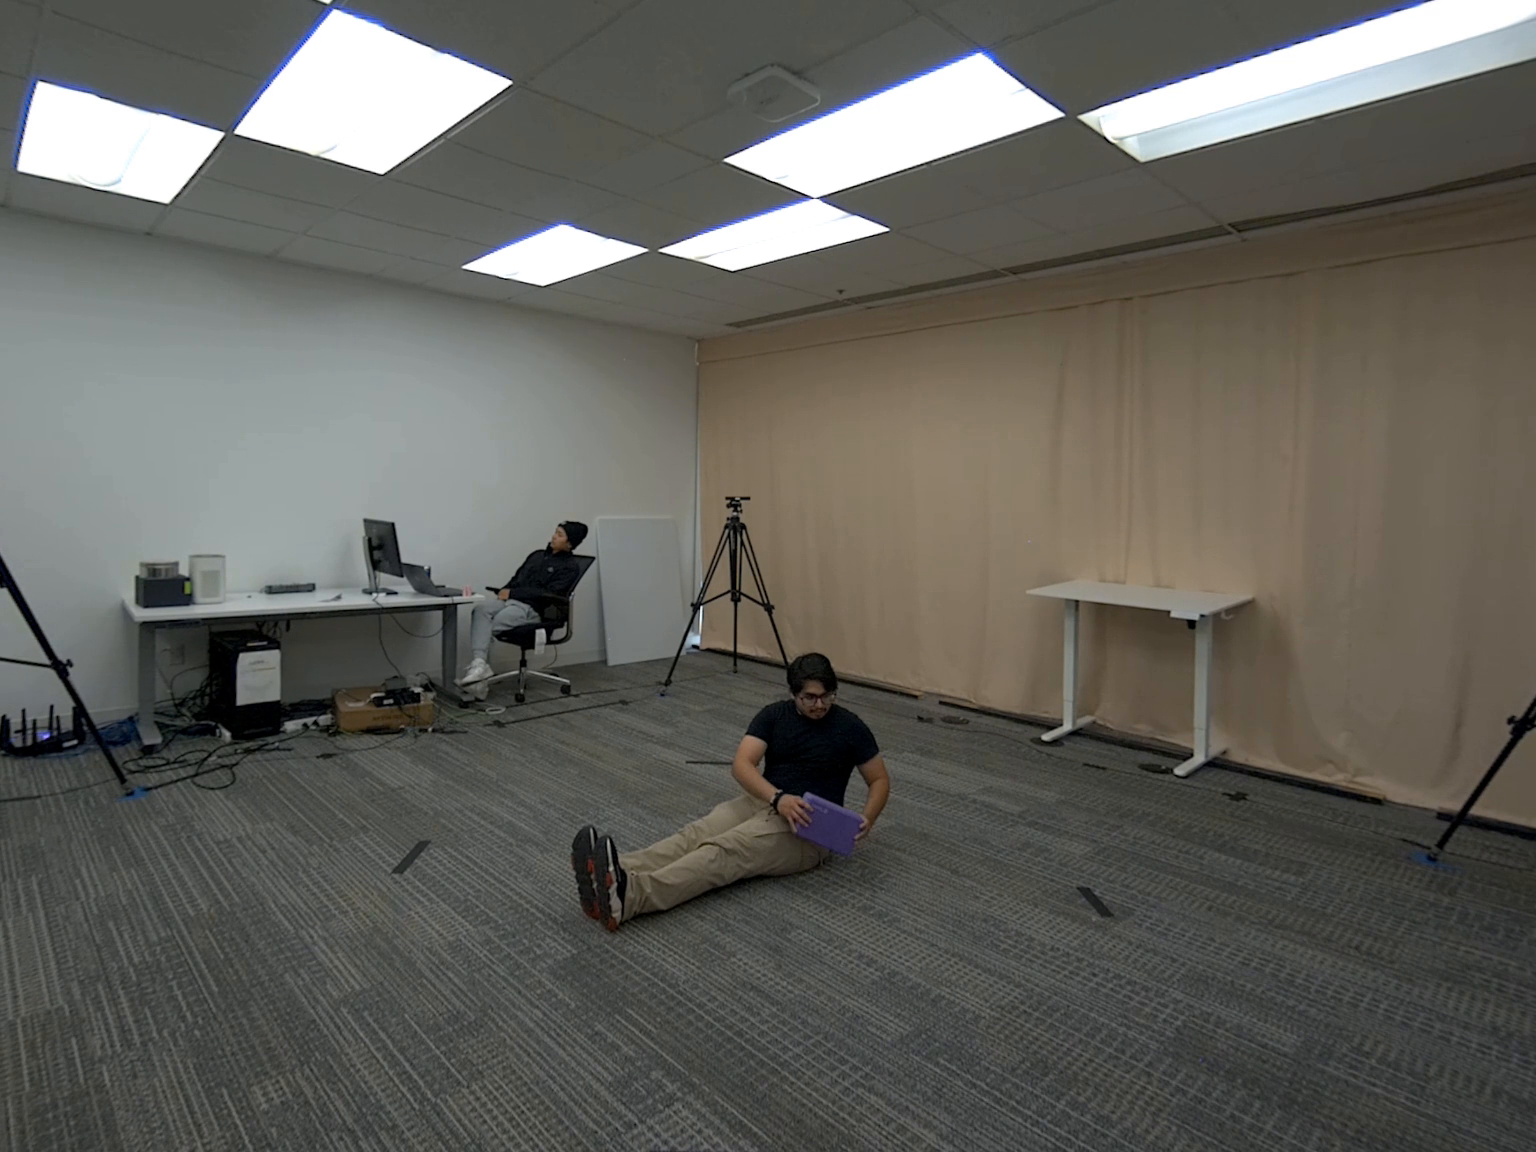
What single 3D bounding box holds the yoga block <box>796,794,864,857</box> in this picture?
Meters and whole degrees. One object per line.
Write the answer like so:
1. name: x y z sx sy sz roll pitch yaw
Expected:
1. yoga block: 0.197 0.904 3.056 0.229 0.149 0.076 23 -2 -2
